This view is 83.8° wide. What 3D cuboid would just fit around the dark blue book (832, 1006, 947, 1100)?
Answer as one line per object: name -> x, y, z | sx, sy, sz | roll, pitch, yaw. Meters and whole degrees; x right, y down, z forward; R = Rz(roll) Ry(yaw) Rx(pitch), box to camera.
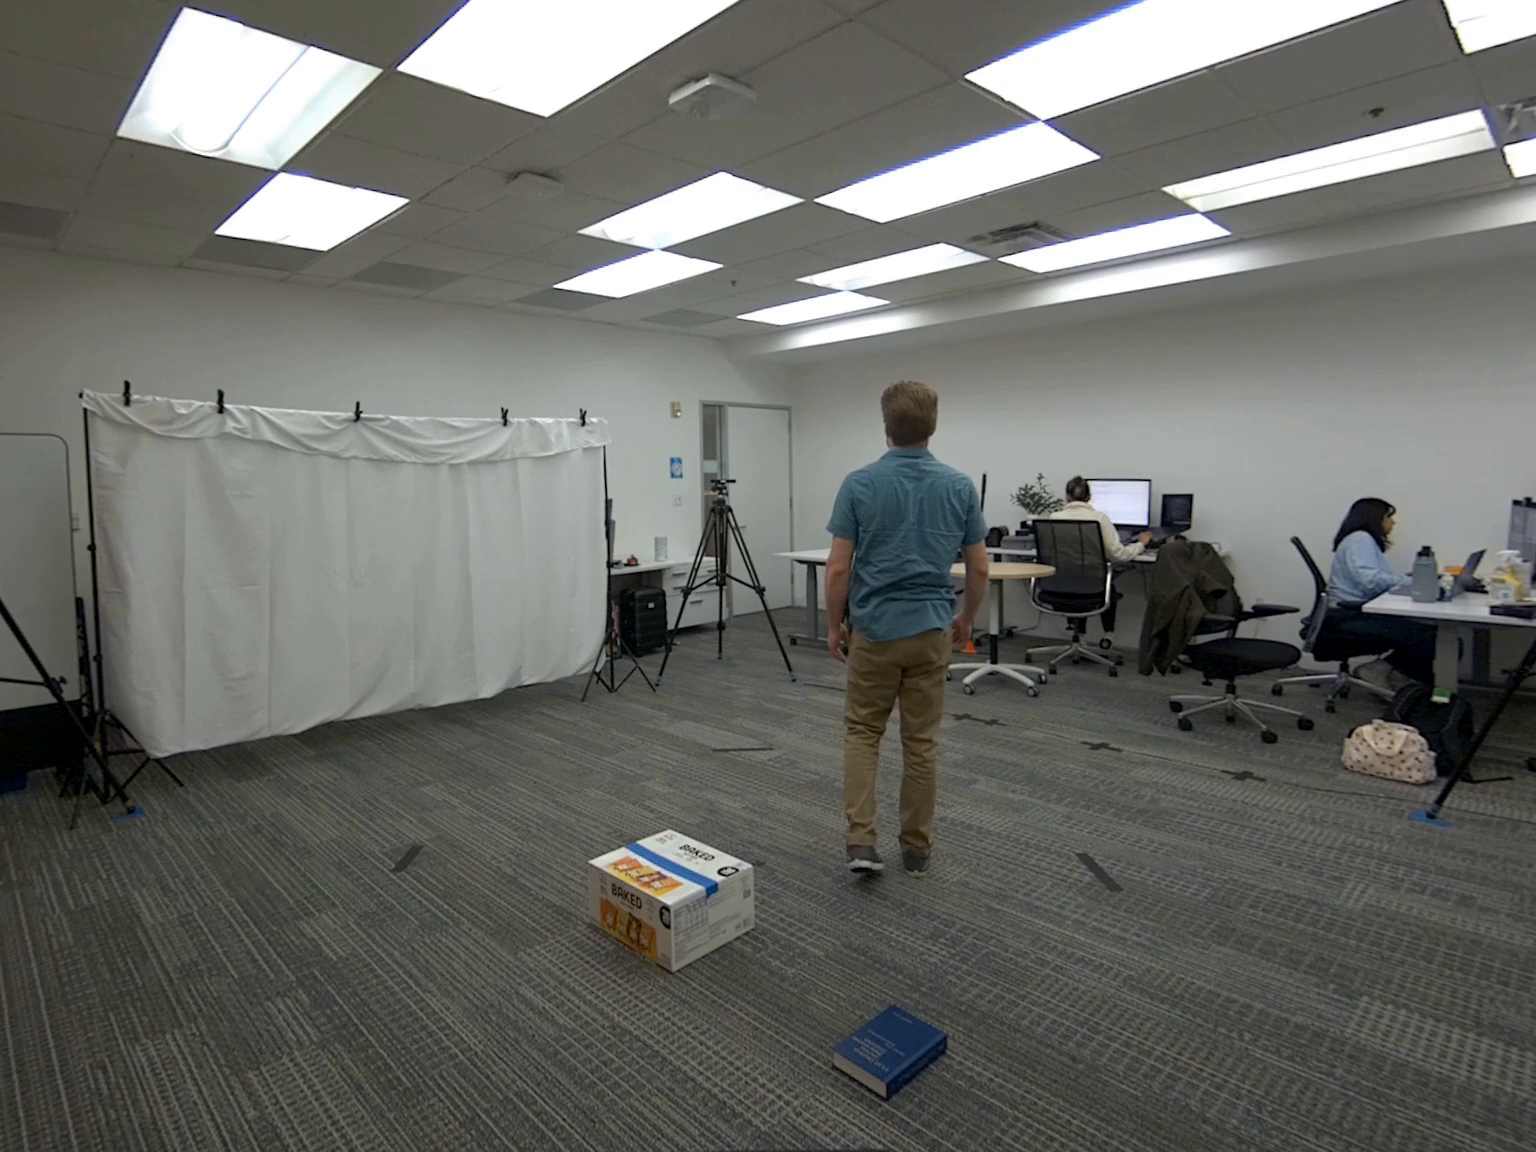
dark blue book -> 0.303, 1.142, 2.052 | 0.239, 0.045, 0.168 | -8, 9, -43
